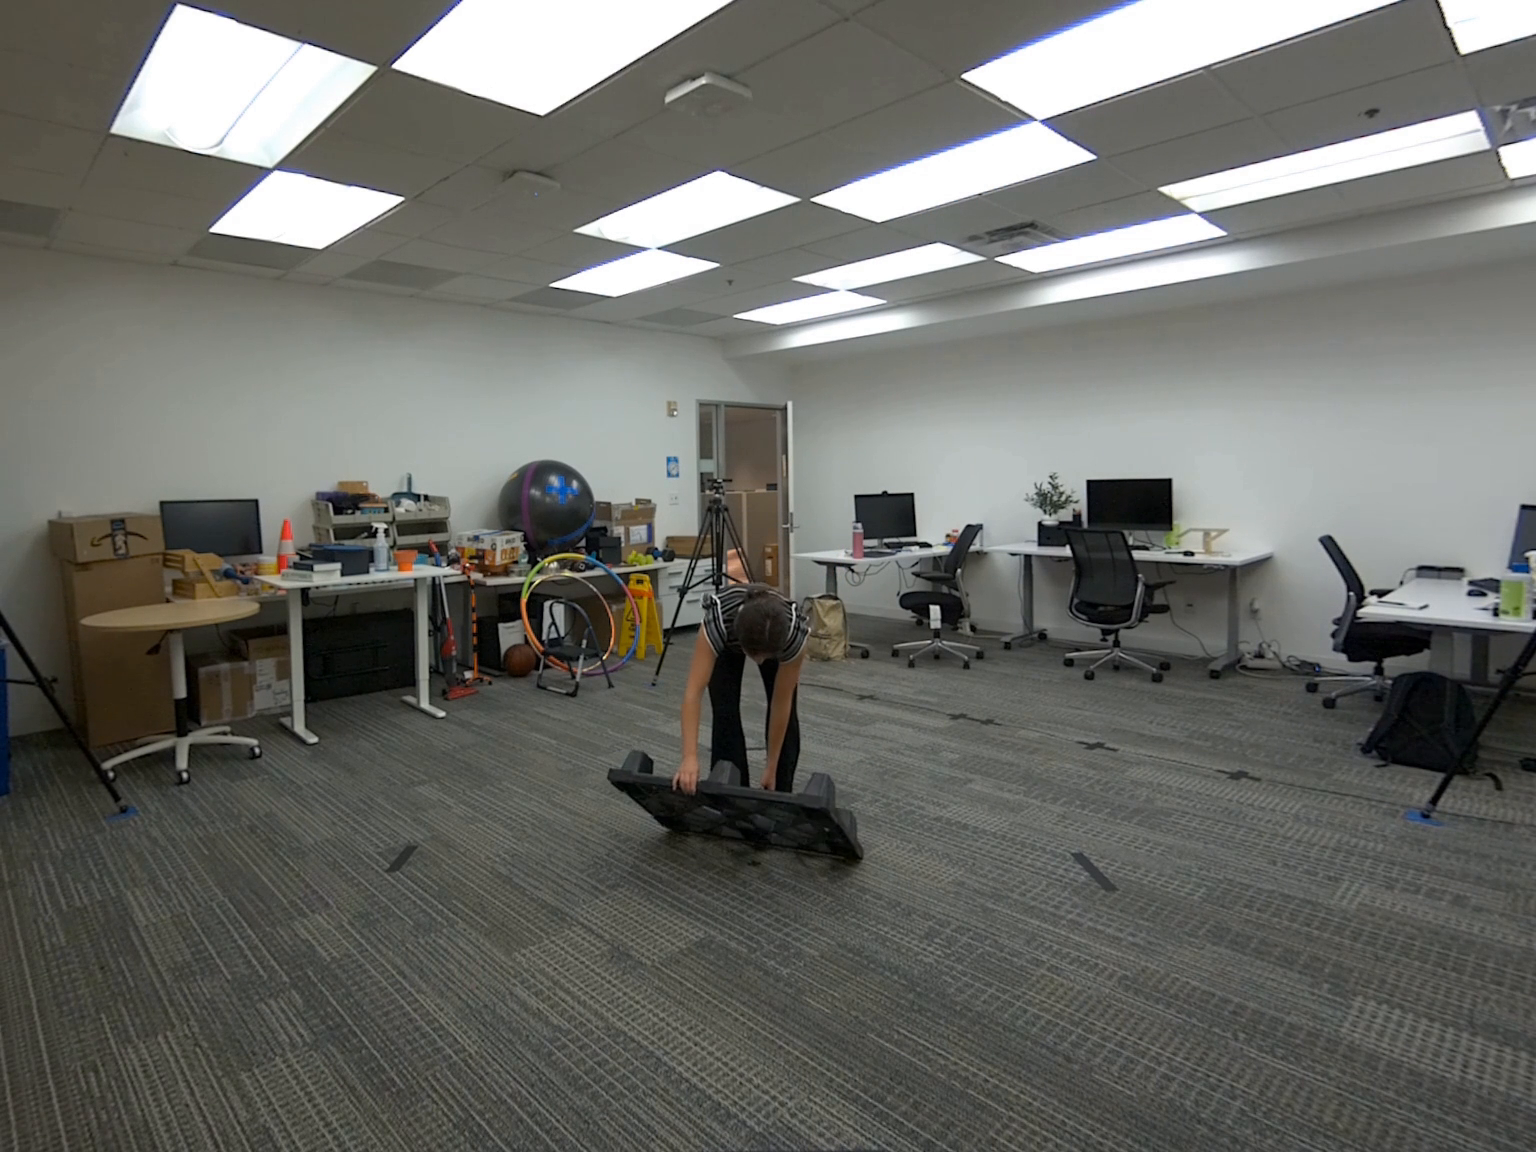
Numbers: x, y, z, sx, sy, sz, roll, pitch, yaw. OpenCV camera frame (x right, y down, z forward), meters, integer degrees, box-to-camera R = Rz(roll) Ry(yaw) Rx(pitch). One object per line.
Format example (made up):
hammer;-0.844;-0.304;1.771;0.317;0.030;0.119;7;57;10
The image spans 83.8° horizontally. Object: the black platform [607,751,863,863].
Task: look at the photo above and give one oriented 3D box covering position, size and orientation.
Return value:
black platform;-0.096;0.818;3.070;0.822;0.145;0.583;2;-32;22
